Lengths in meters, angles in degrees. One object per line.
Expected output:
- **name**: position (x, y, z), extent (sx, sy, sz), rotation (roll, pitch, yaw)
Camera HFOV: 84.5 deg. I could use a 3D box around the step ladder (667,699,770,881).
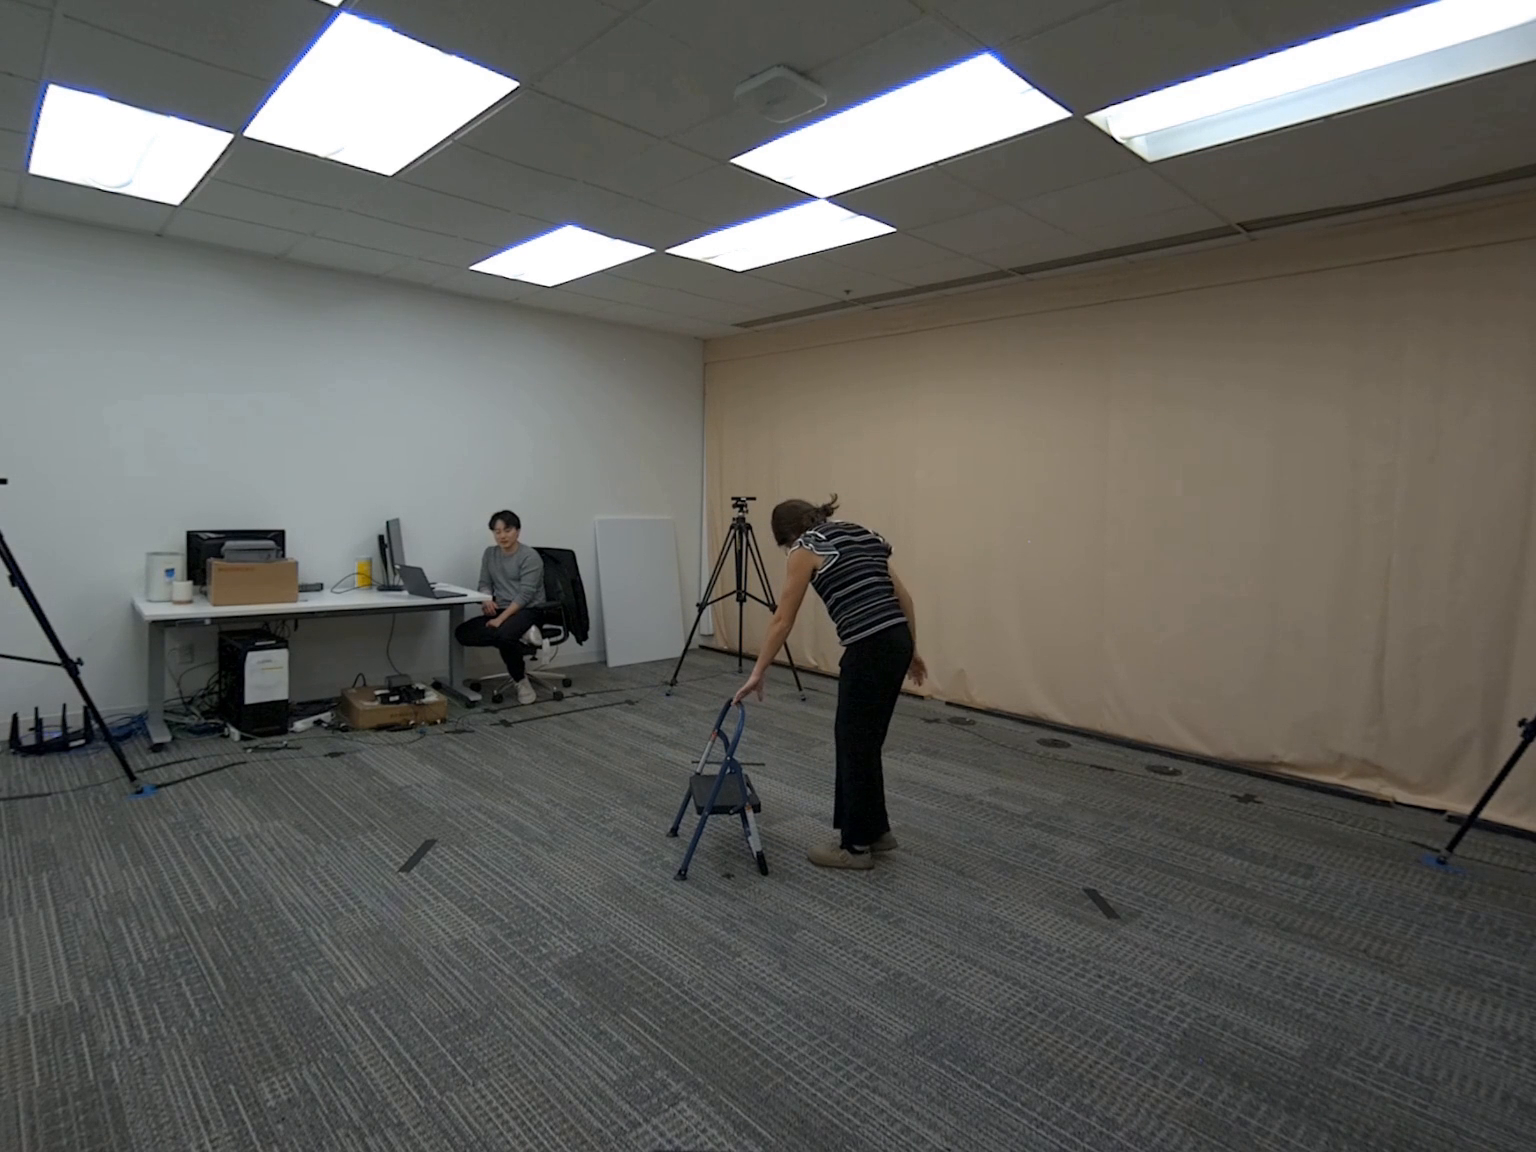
- **step ladder**: position (-0.195, 0.786, 3.273), extent (0.346, 0.605, 0.435), rotation (1, 3, -11)
